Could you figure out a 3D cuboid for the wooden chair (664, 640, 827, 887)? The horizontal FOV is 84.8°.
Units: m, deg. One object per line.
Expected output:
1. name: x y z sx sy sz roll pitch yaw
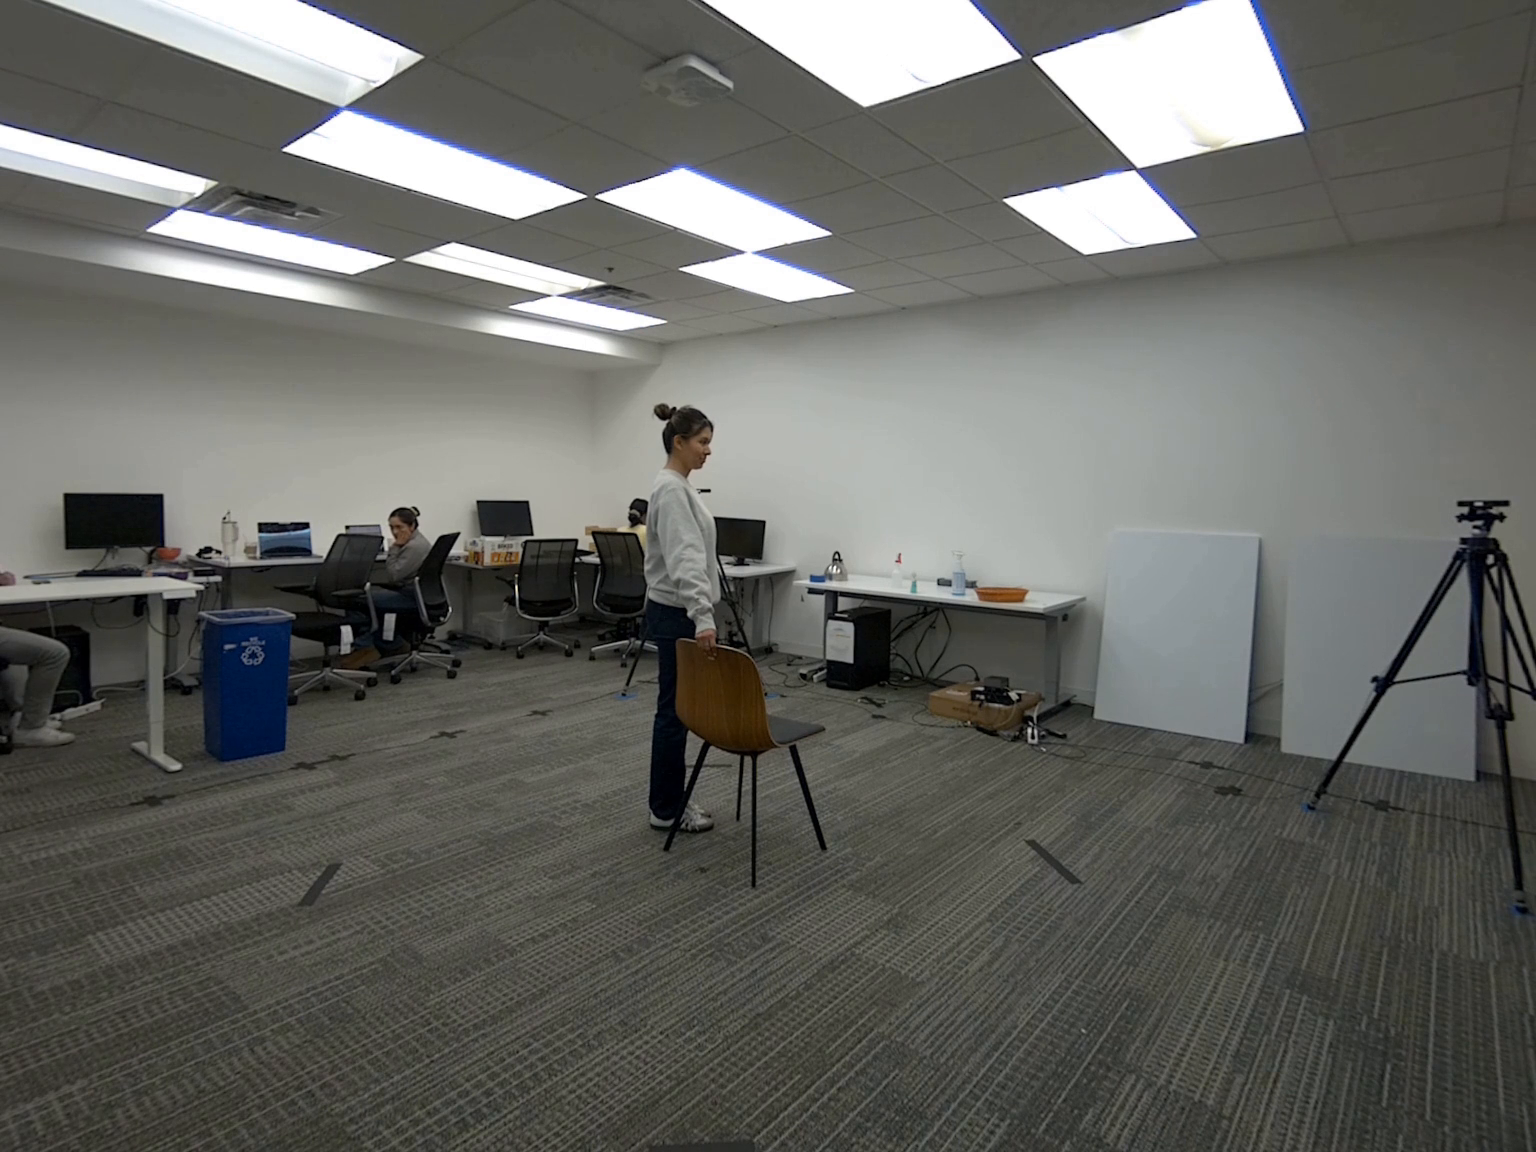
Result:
1. wooden chair: -0.079 0.634 3.267 0.494 0.872 0.509 3 8 40
